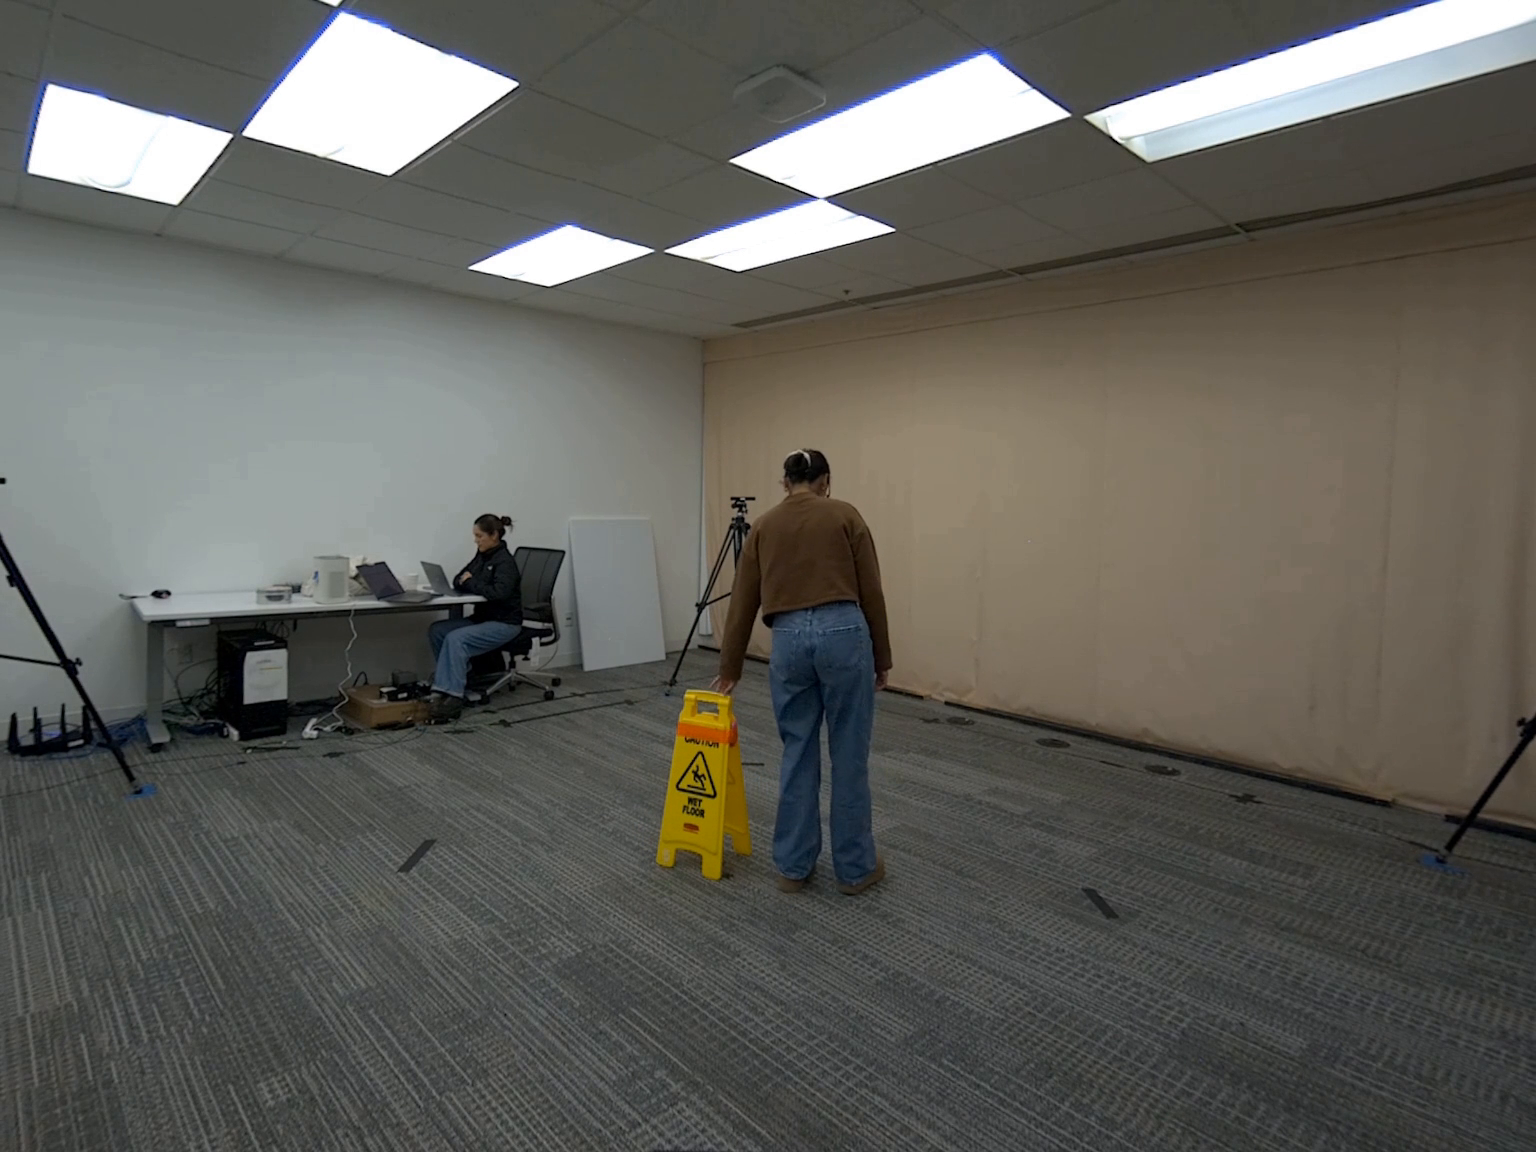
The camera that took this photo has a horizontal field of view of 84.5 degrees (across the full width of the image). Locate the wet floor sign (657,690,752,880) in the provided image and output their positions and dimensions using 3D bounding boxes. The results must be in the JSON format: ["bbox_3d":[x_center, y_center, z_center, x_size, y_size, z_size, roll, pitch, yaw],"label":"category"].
[{"bbox_3d":[-0.244,0.770,3.233,0.288,0.645,0.284,4,3,26],"label":"wet floor sign"}]
